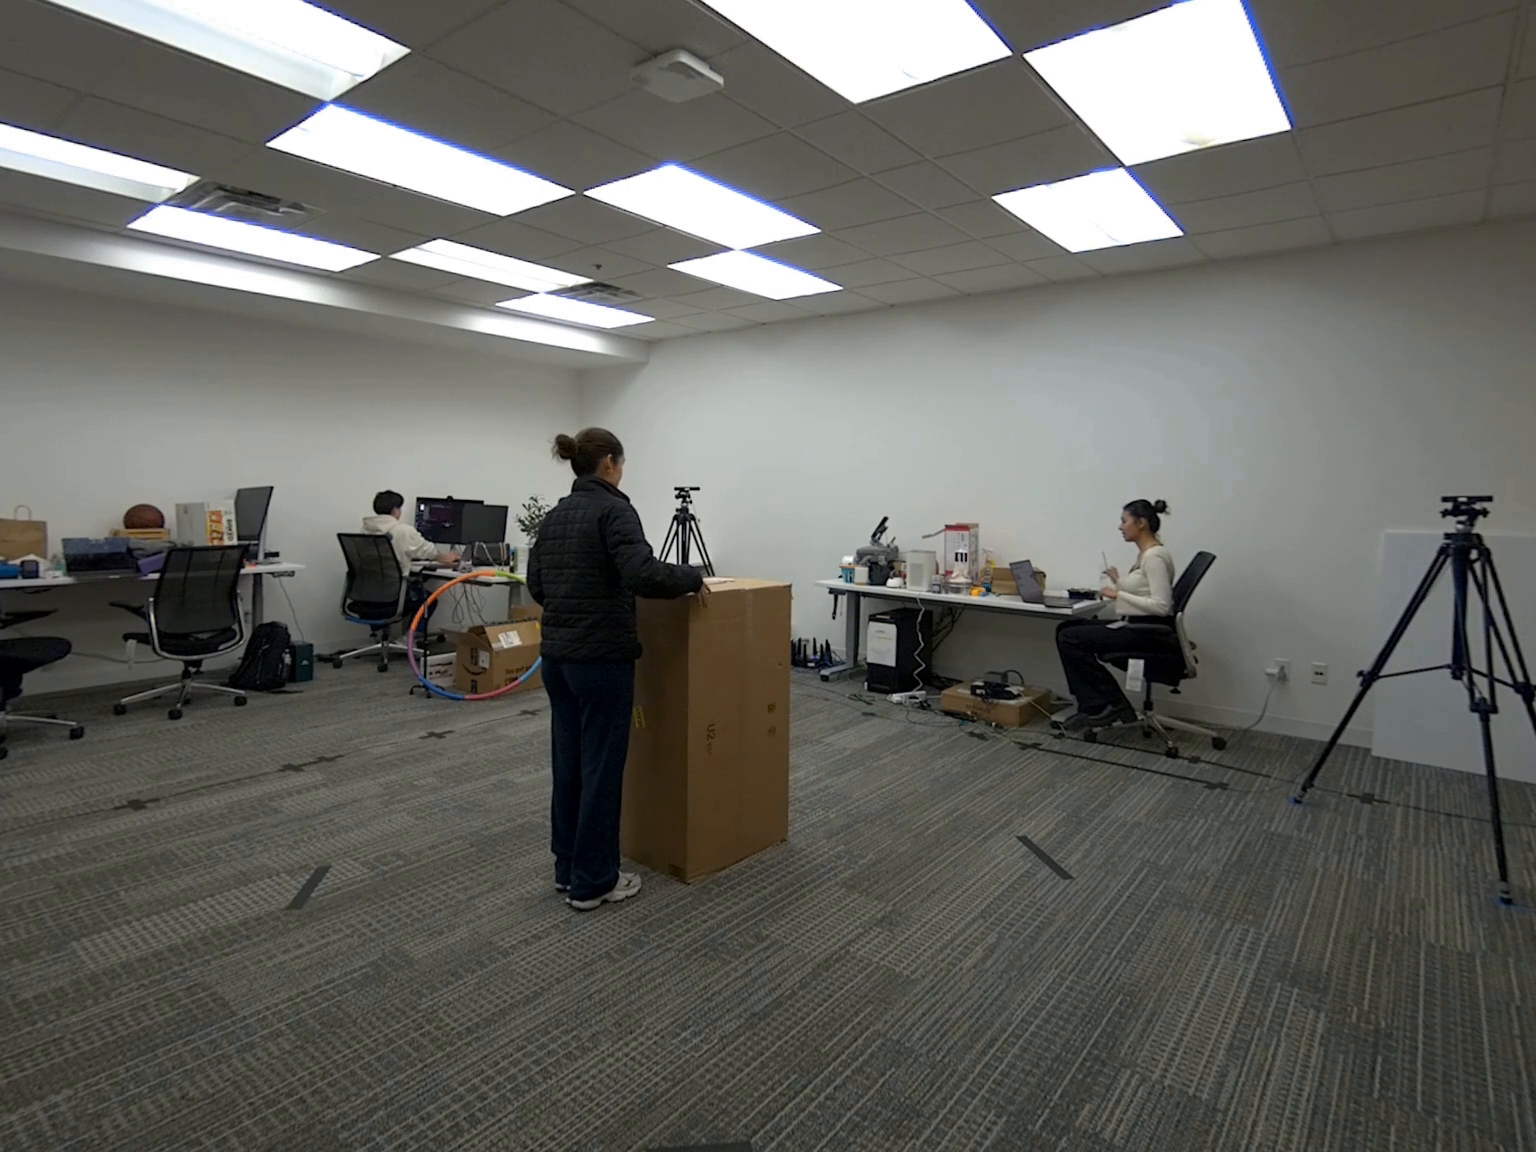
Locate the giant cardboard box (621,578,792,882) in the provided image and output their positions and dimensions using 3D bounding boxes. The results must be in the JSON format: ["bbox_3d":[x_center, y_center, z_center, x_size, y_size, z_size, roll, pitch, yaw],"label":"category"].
[{"bbox_3d":[-0.236,0.537,3.321,0.440,1.023,0.560,4,4,42],"label":"giant cardboard box"}]
